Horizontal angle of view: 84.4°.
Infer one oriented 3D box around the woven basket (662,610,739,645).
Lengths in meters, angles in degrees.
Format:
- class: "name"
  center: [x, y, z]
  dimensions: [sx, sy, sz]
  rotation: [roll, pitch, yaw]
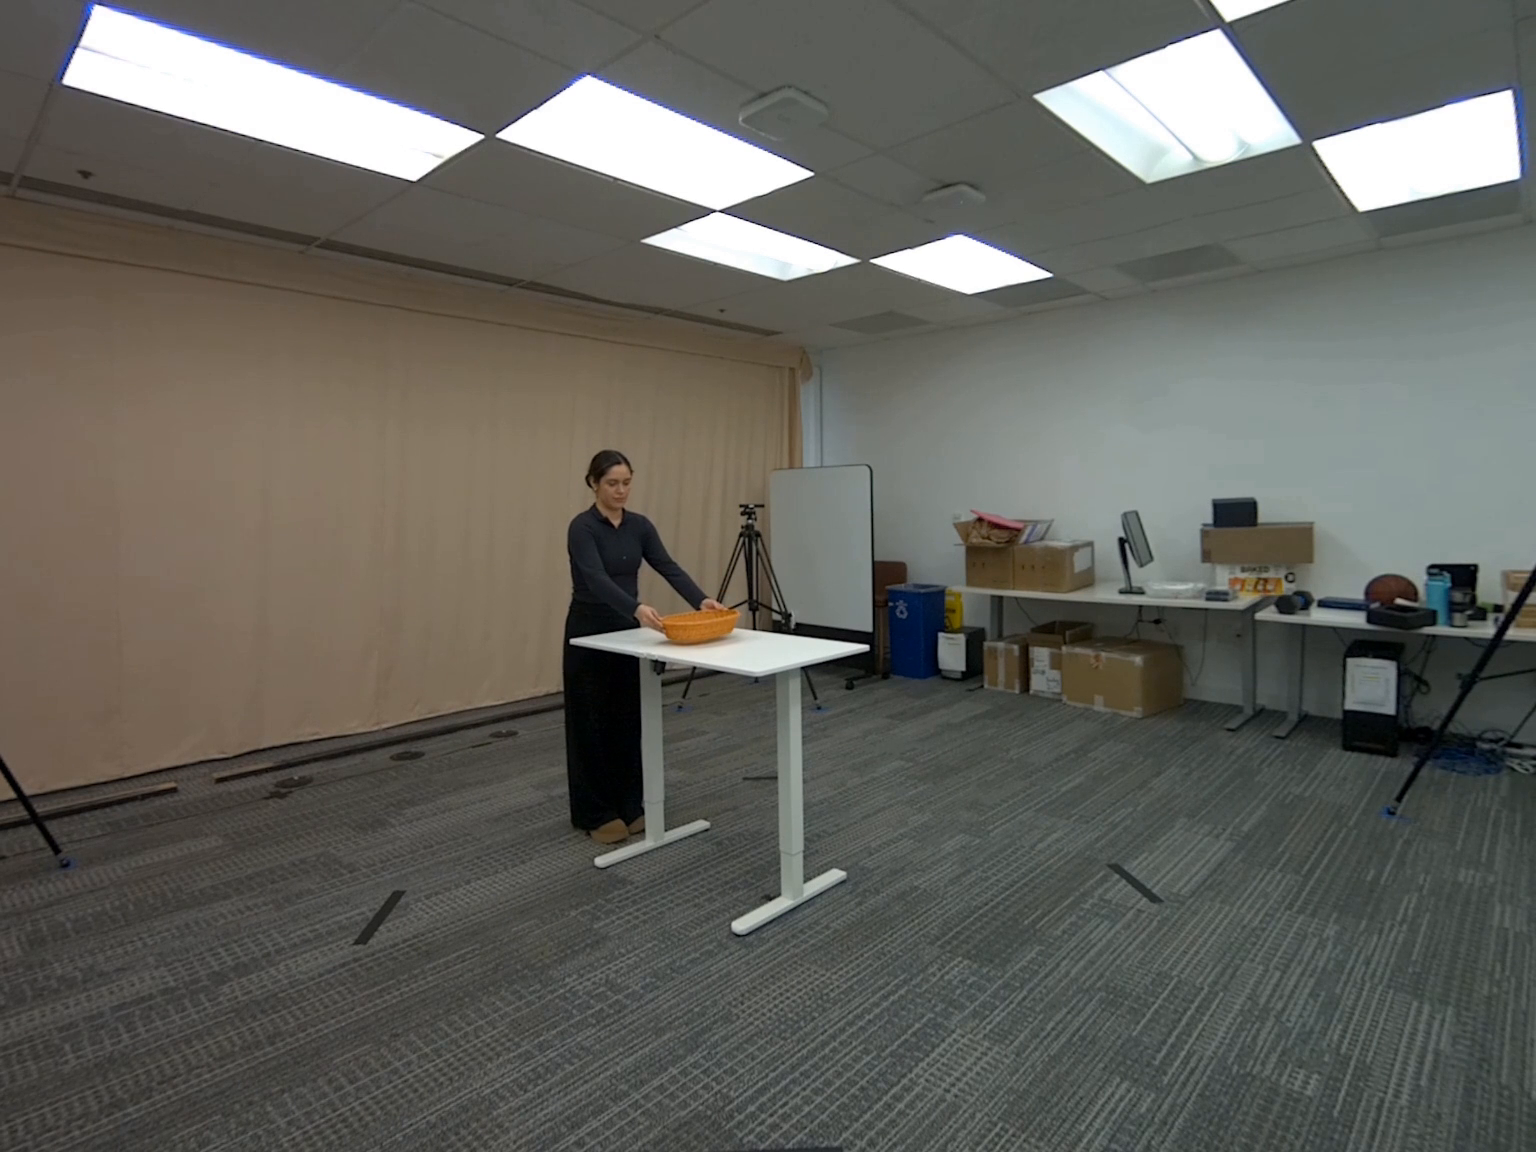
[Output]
- class: "woven basket"
  center: [-0.265, 0.186, 3.202]
  dimensions: [0.260, 0.073, 0.340]
  rotation: [2, 8, 37]
